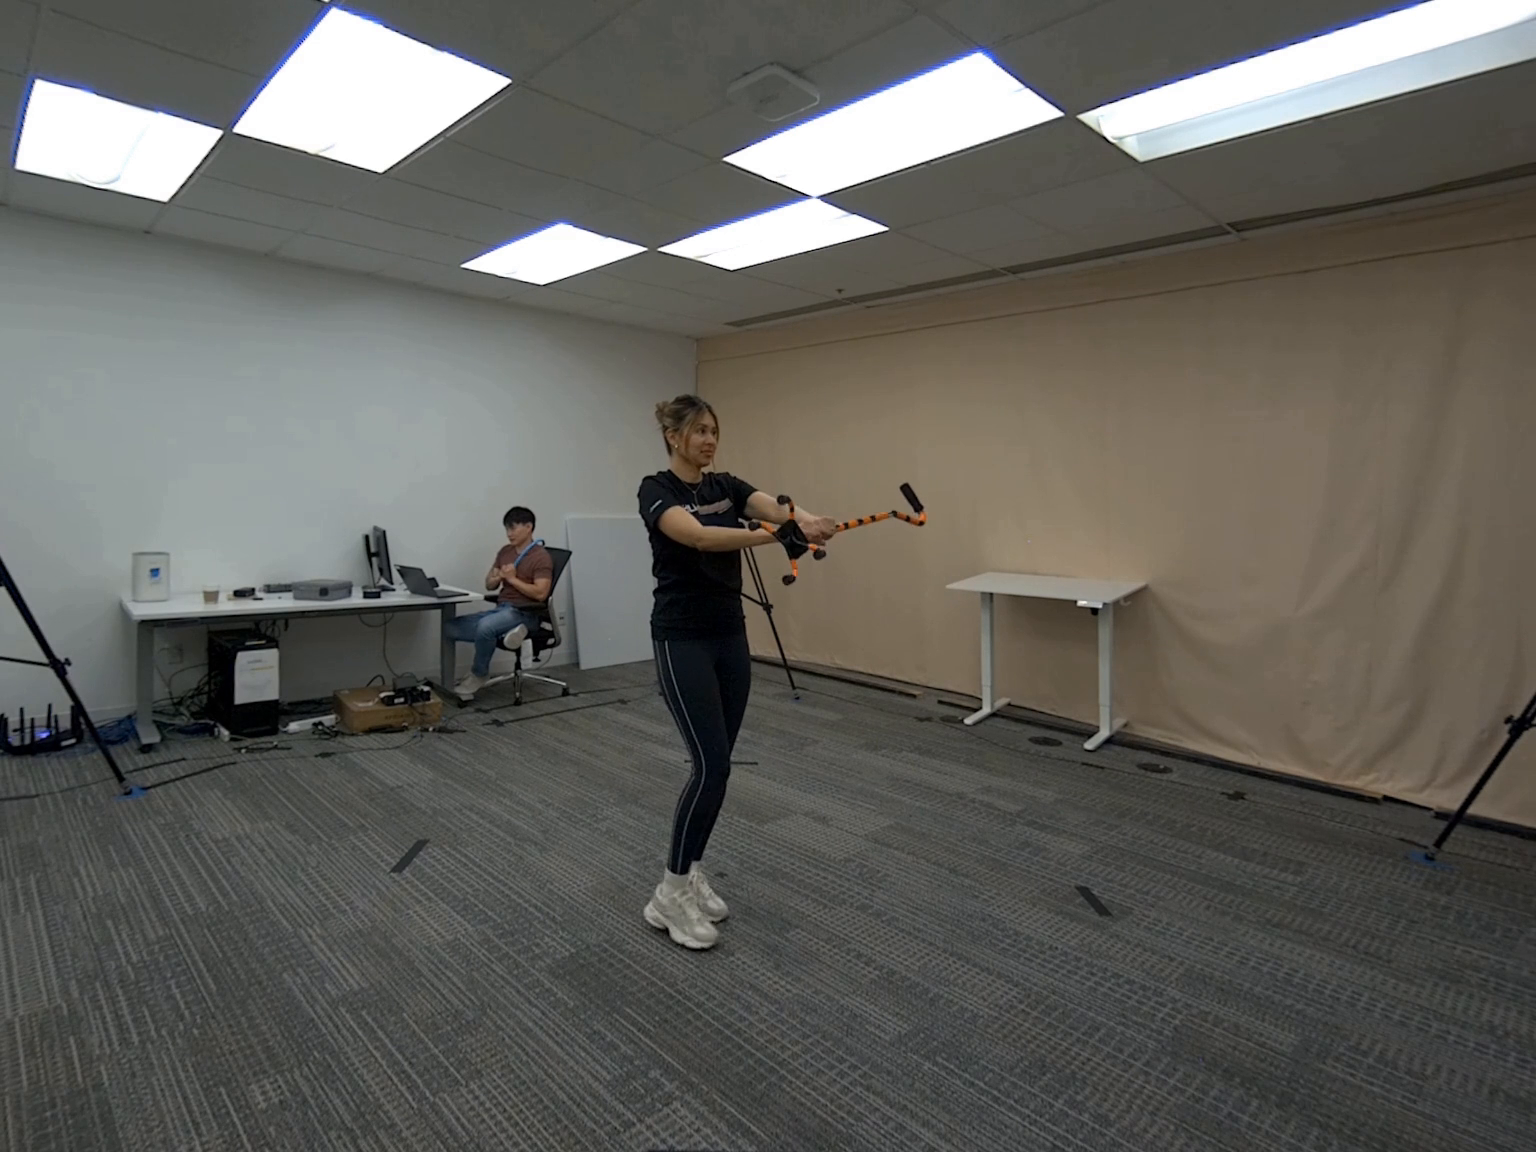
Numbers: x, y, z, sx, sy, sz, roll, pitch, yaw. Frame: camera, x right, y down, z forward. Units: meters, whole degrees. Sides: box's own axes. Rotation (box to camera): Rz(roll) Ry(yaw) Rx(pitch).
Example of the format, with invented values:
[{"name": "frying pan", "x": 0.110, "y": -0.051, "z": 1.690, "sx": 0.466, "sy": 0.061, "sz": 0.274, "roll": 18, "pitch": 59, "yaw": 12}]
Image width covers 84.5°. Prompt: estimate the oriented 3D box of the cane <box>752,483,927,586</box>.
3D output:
[{"name": "cane", "x": 0.296, "y": -0.168, "z": 2.592, "sx": 0.152, "sy": 0.209, "sz": 0.893, "roll": -37, "pitch": -11, "yaw": 32}]
